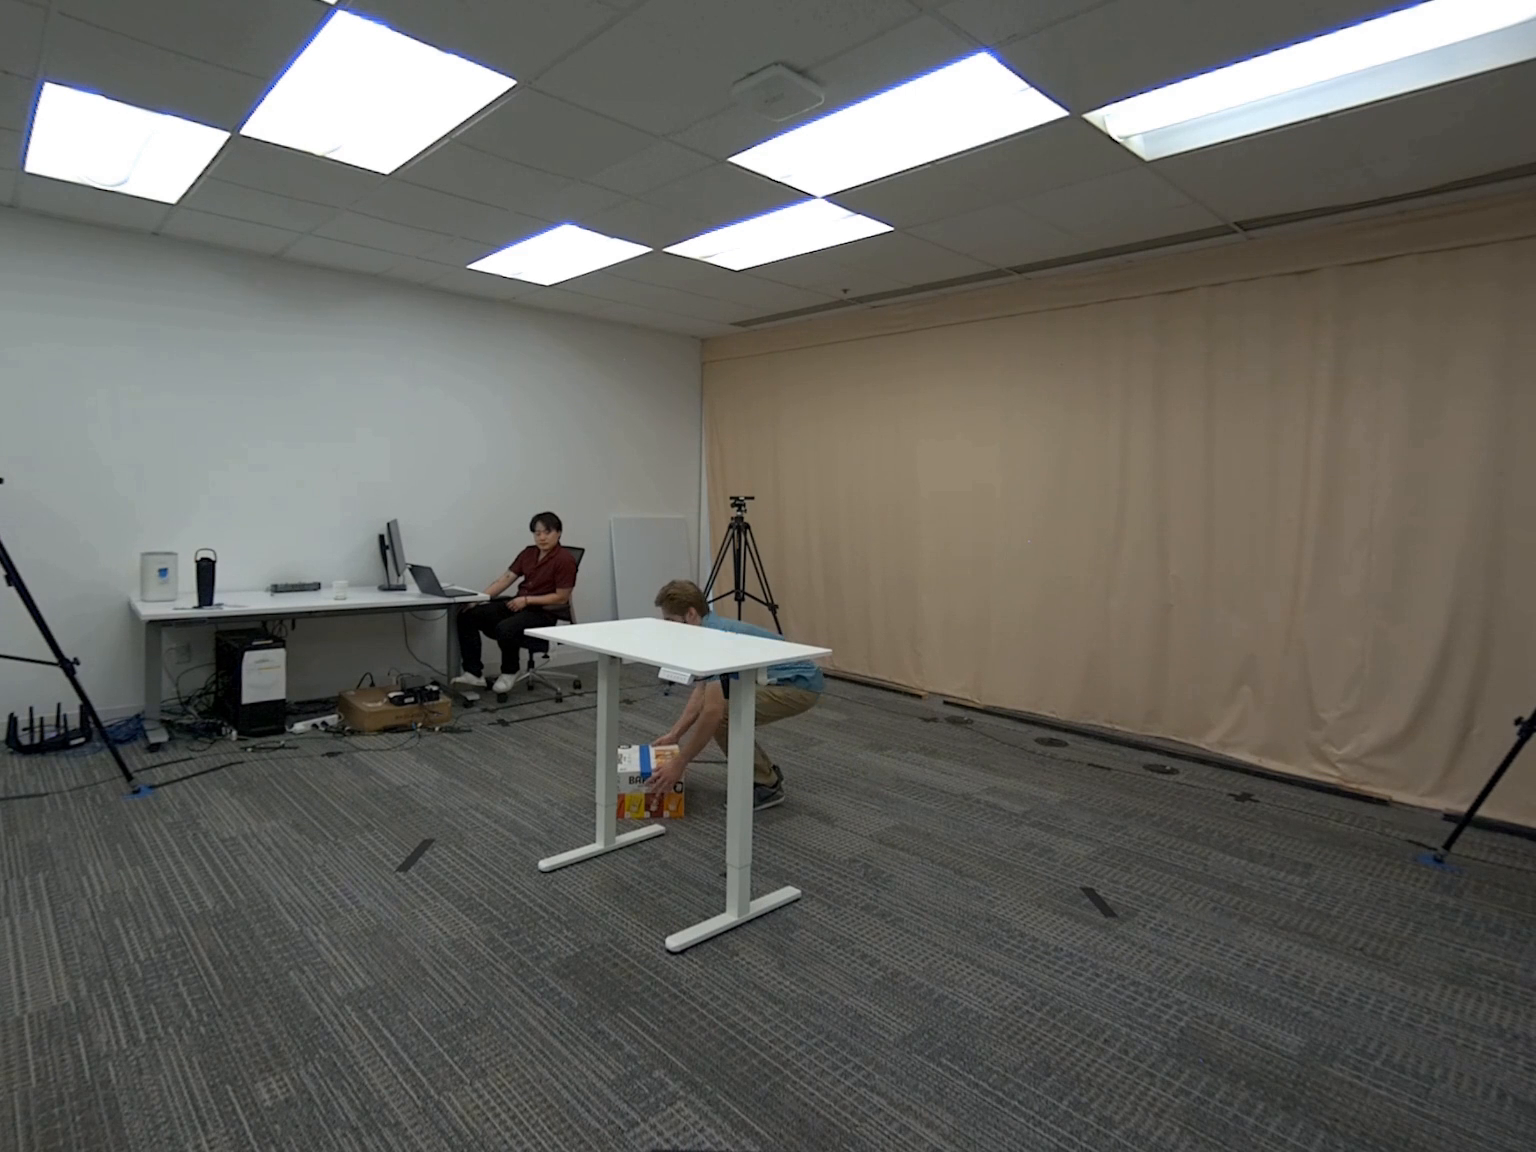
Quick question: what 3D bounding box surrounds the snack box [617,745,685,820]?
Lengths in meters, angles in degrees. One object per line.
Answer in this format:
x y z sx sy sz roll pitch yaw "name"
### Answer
-0.576 0.934 3.834 0.338 0.205 0.409 0 4 -9 "snack box"
